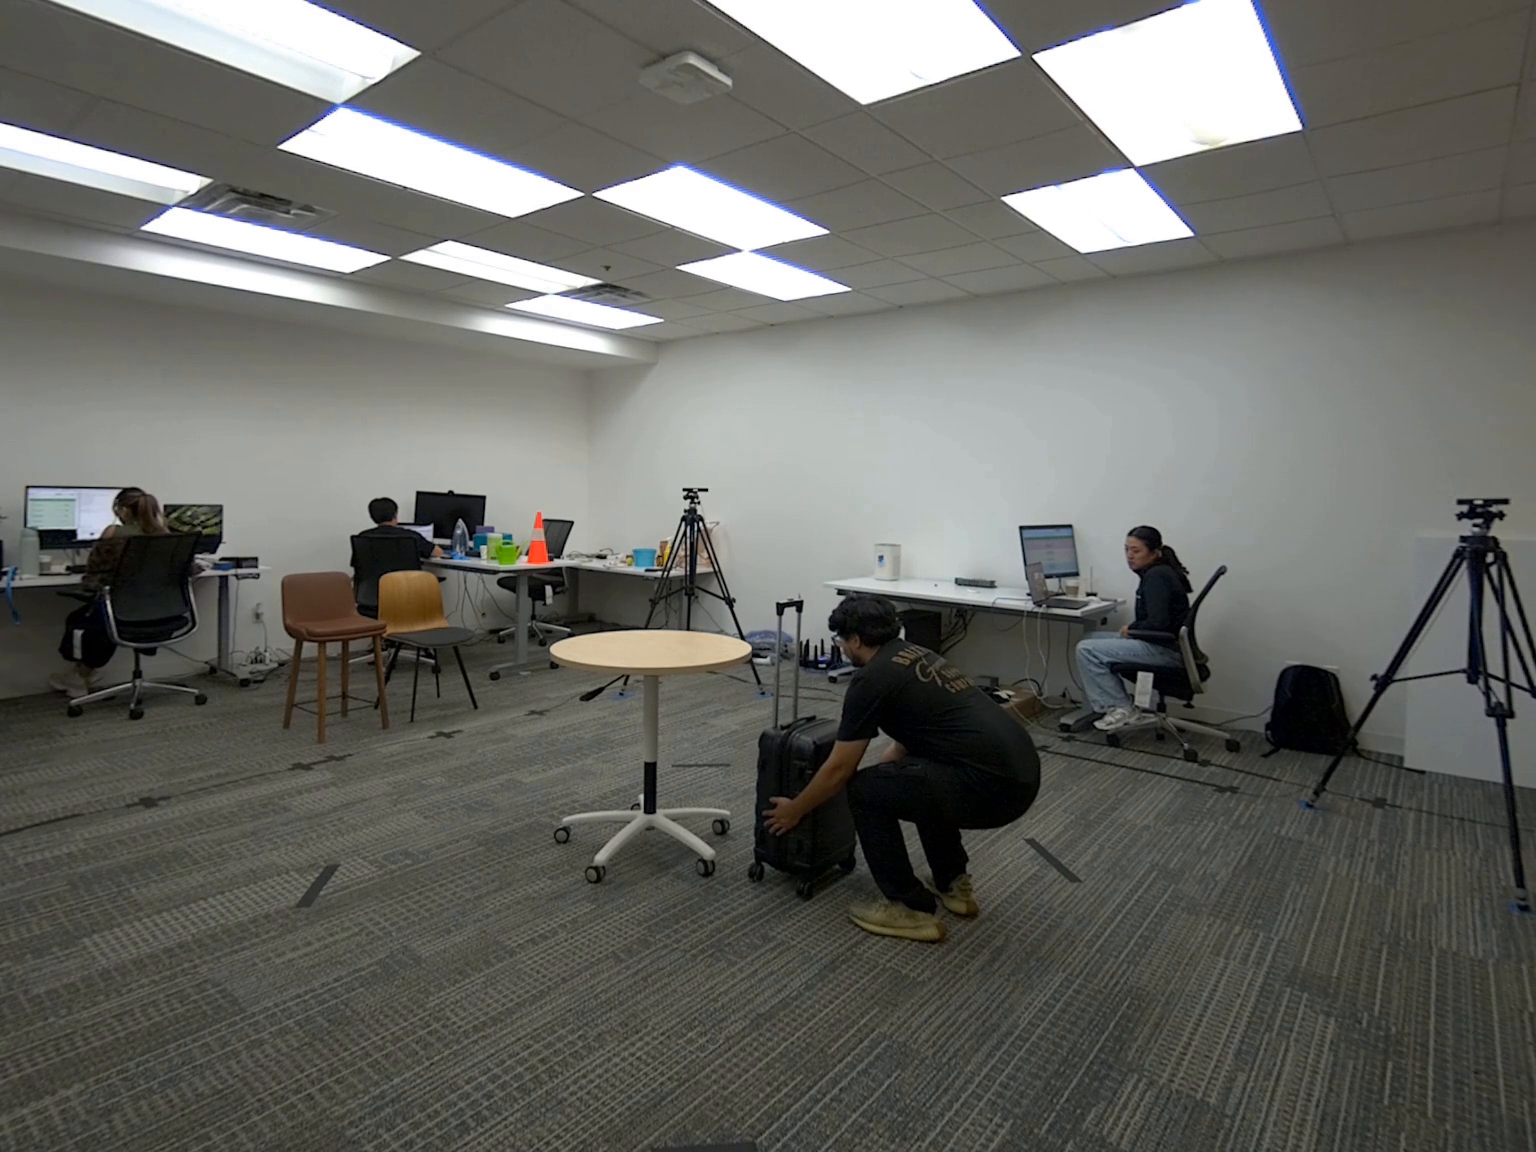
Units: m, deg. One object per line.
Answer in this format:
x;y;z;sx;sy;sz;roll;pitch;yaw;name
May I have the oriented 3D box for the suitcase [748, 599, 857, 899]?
0.146;0.589;3.084;0.265;0.977;0.372;5;2;36;suitcase
